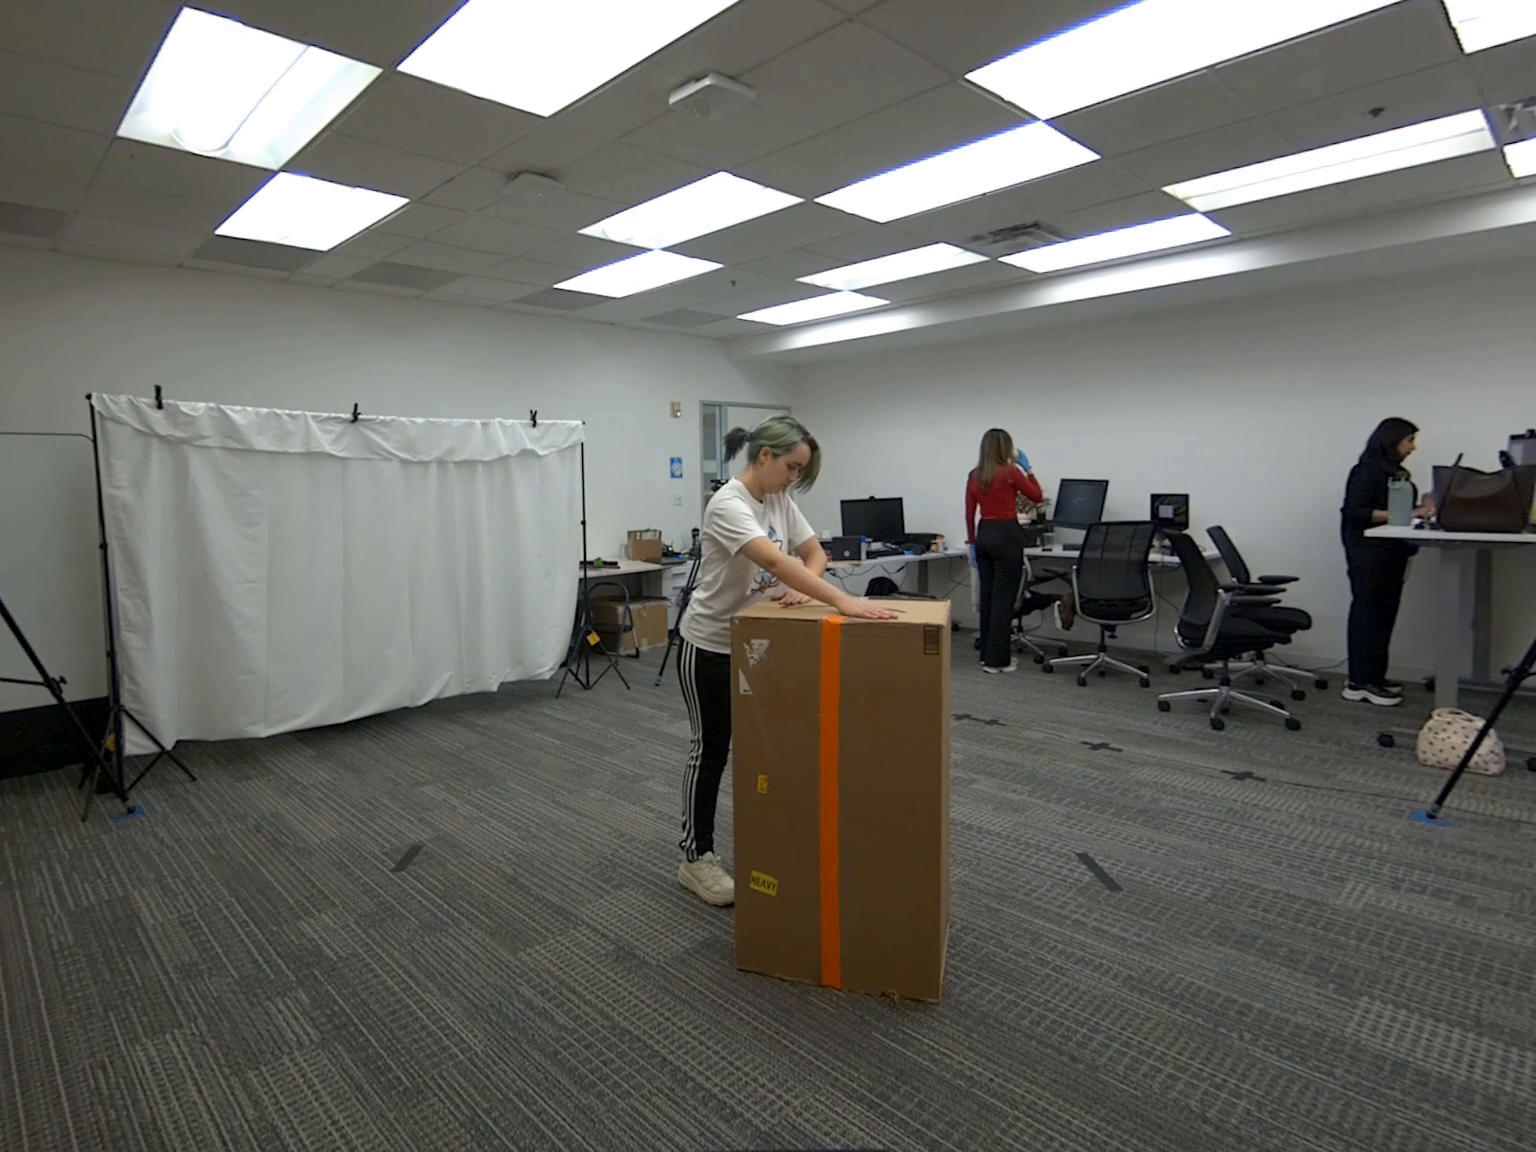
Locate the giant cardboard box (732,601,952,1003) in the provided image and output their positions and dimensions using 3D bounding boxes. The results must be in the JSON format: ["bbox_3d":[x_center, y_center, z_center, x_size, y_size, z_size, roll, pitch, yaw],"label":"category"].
[{"bbox_3d":[0.233,0.602,2.511,0.594,1.023,0.441,0,4,17],"label":"giant cardboard box"}]
